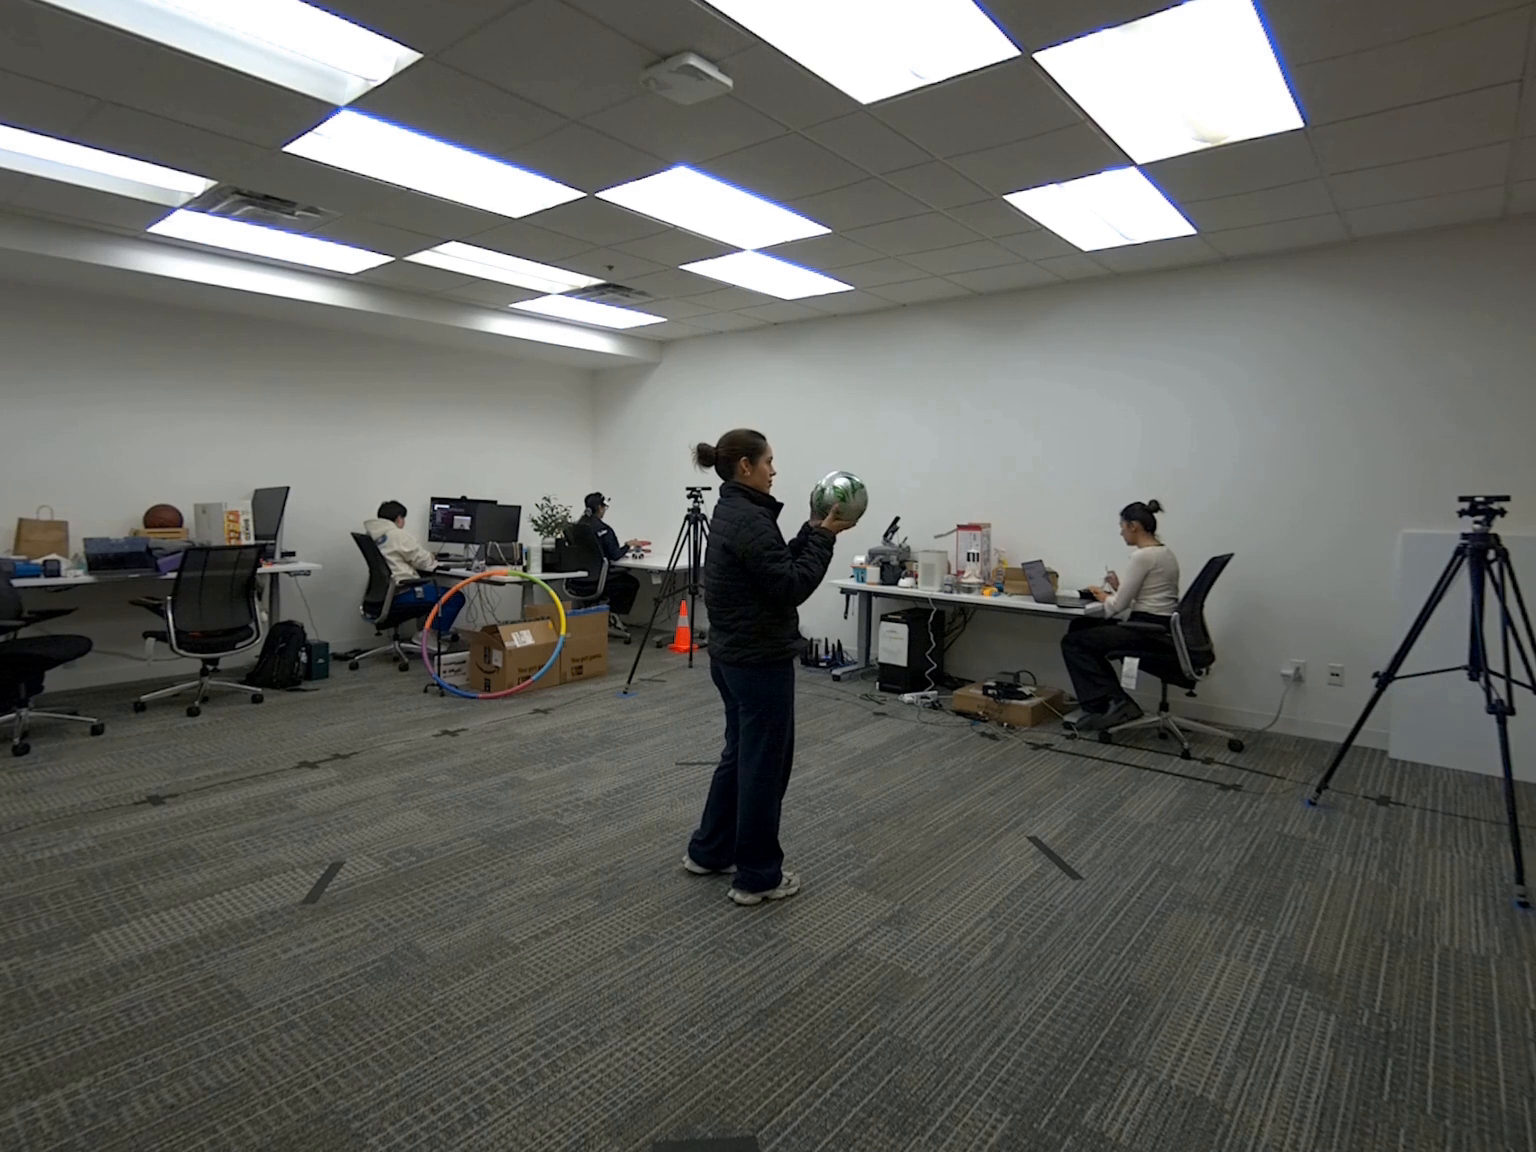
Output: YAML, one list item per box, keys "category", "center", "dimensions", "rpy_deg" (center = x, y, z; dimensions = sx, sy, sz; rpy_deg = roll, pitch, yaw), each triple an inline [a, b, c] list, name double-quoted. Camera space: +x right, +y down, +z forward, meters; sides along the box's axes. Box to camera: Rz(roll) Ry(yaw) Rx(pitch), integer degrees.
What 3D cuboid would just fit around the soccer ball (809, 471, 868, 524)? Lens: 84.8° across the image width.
- category: "soccer ball"
  center: [0.236, -0.265, 2.906]
  dimensions: [0.187, 0.187, 0.188]
  rpy_deg: [1, 4, -2]
